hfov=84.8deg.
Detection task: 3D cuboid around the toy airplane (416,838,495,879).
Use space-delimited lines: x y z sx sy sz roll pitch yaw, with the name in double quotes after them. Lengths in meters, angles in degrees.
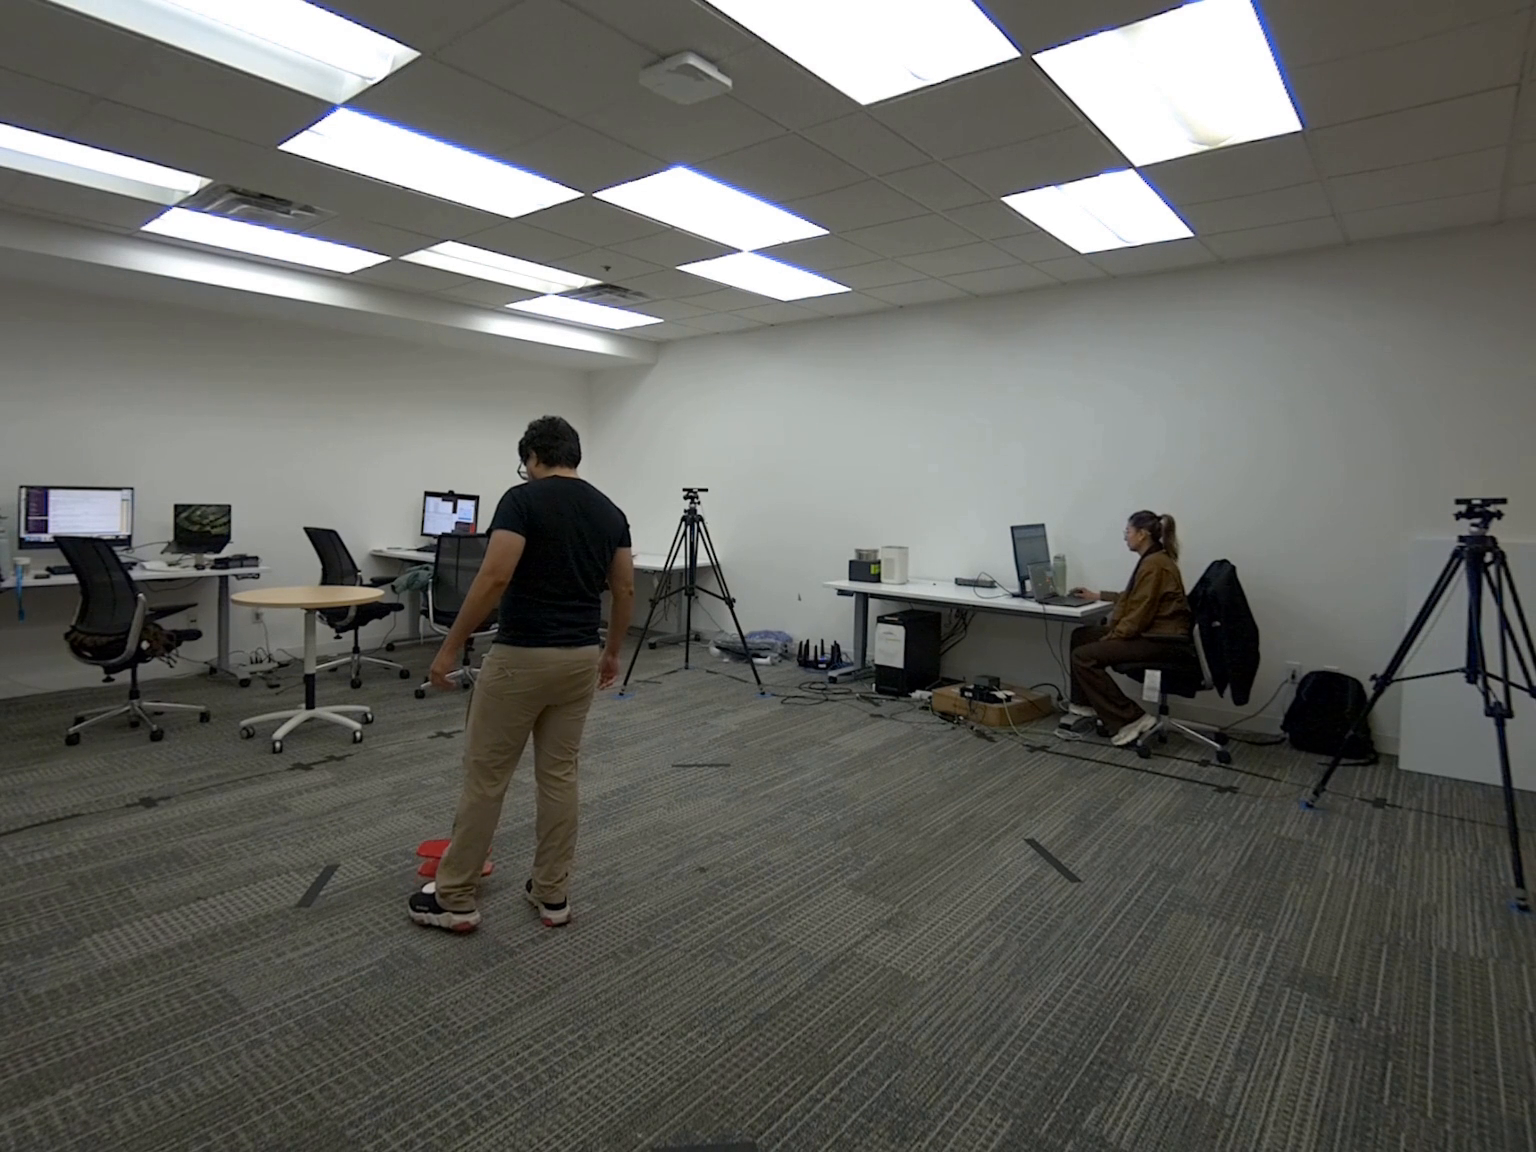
-1.065 0.999 2.897 0.244 0.156 0.267 -3 5 -31 "toy airplane"
